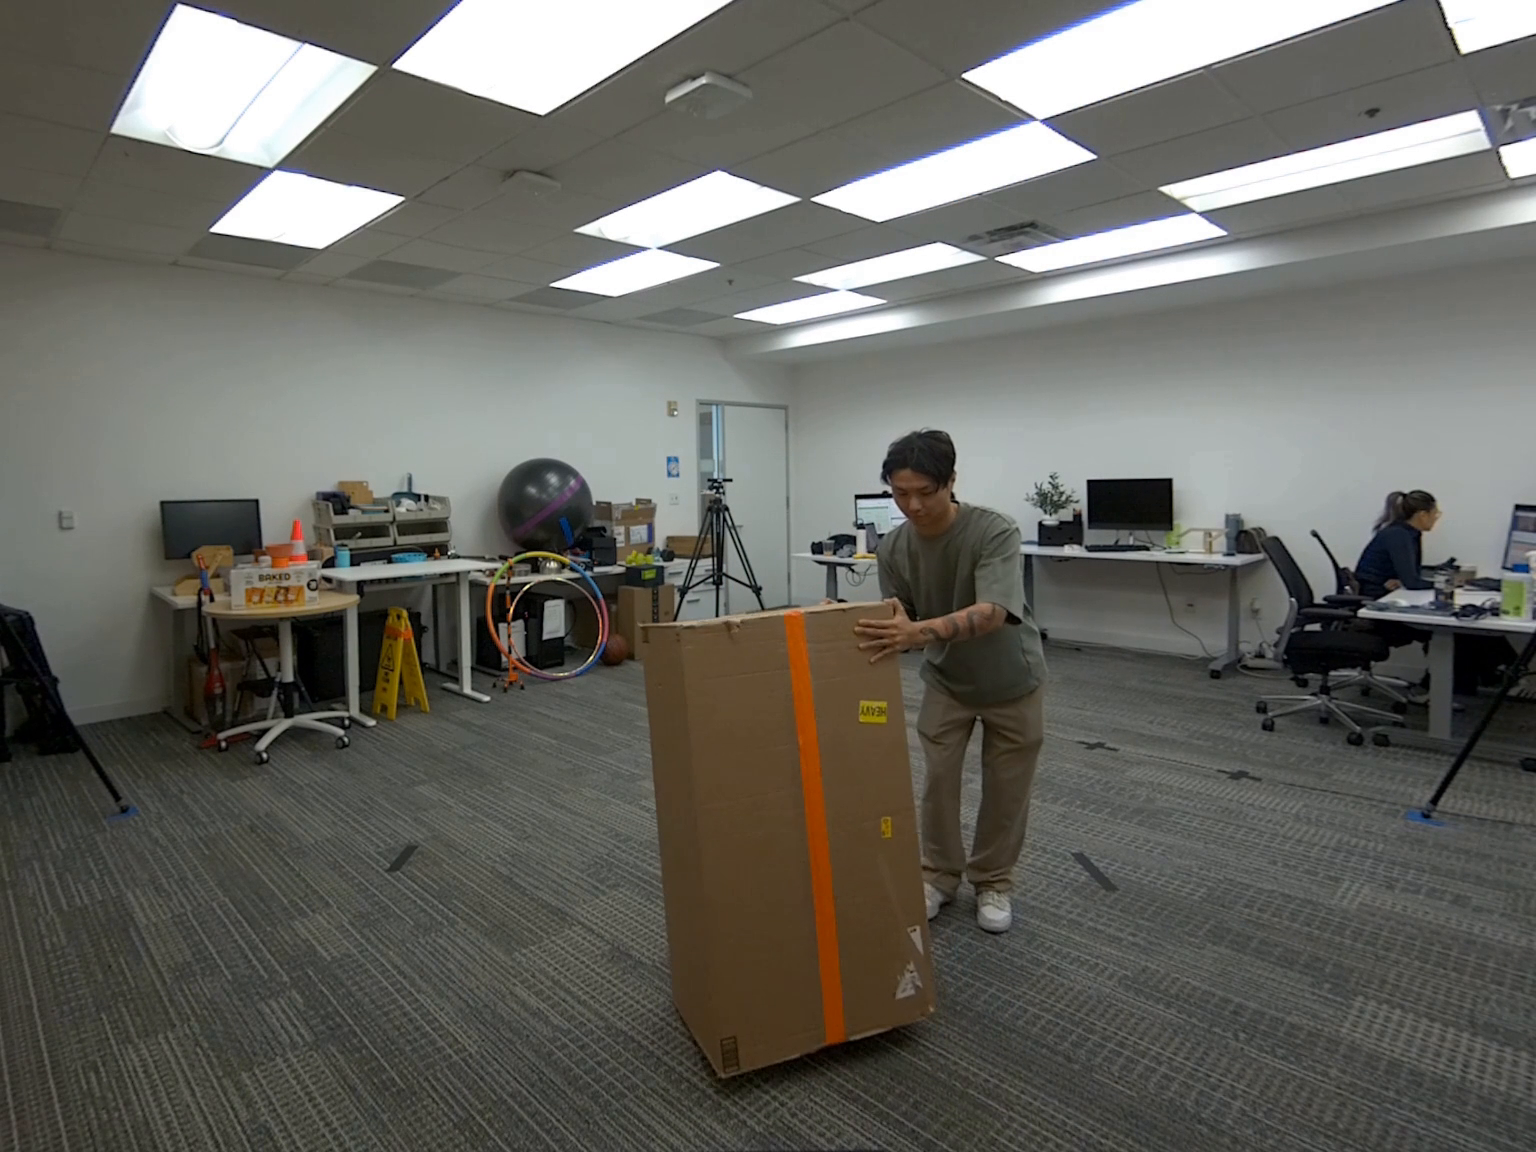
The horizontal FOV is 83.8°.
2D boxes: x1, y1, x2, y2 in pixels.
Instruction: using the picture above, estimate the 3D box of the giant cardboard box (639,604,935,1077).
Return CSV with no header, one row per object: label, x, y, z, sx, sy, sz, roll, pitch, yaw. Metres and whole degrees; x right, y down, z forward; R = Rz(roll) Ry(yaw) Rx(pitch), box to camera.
giant cardboard box,0.037,0.613,2.244,0.567,1.030,0.432,-4,-4,-21
